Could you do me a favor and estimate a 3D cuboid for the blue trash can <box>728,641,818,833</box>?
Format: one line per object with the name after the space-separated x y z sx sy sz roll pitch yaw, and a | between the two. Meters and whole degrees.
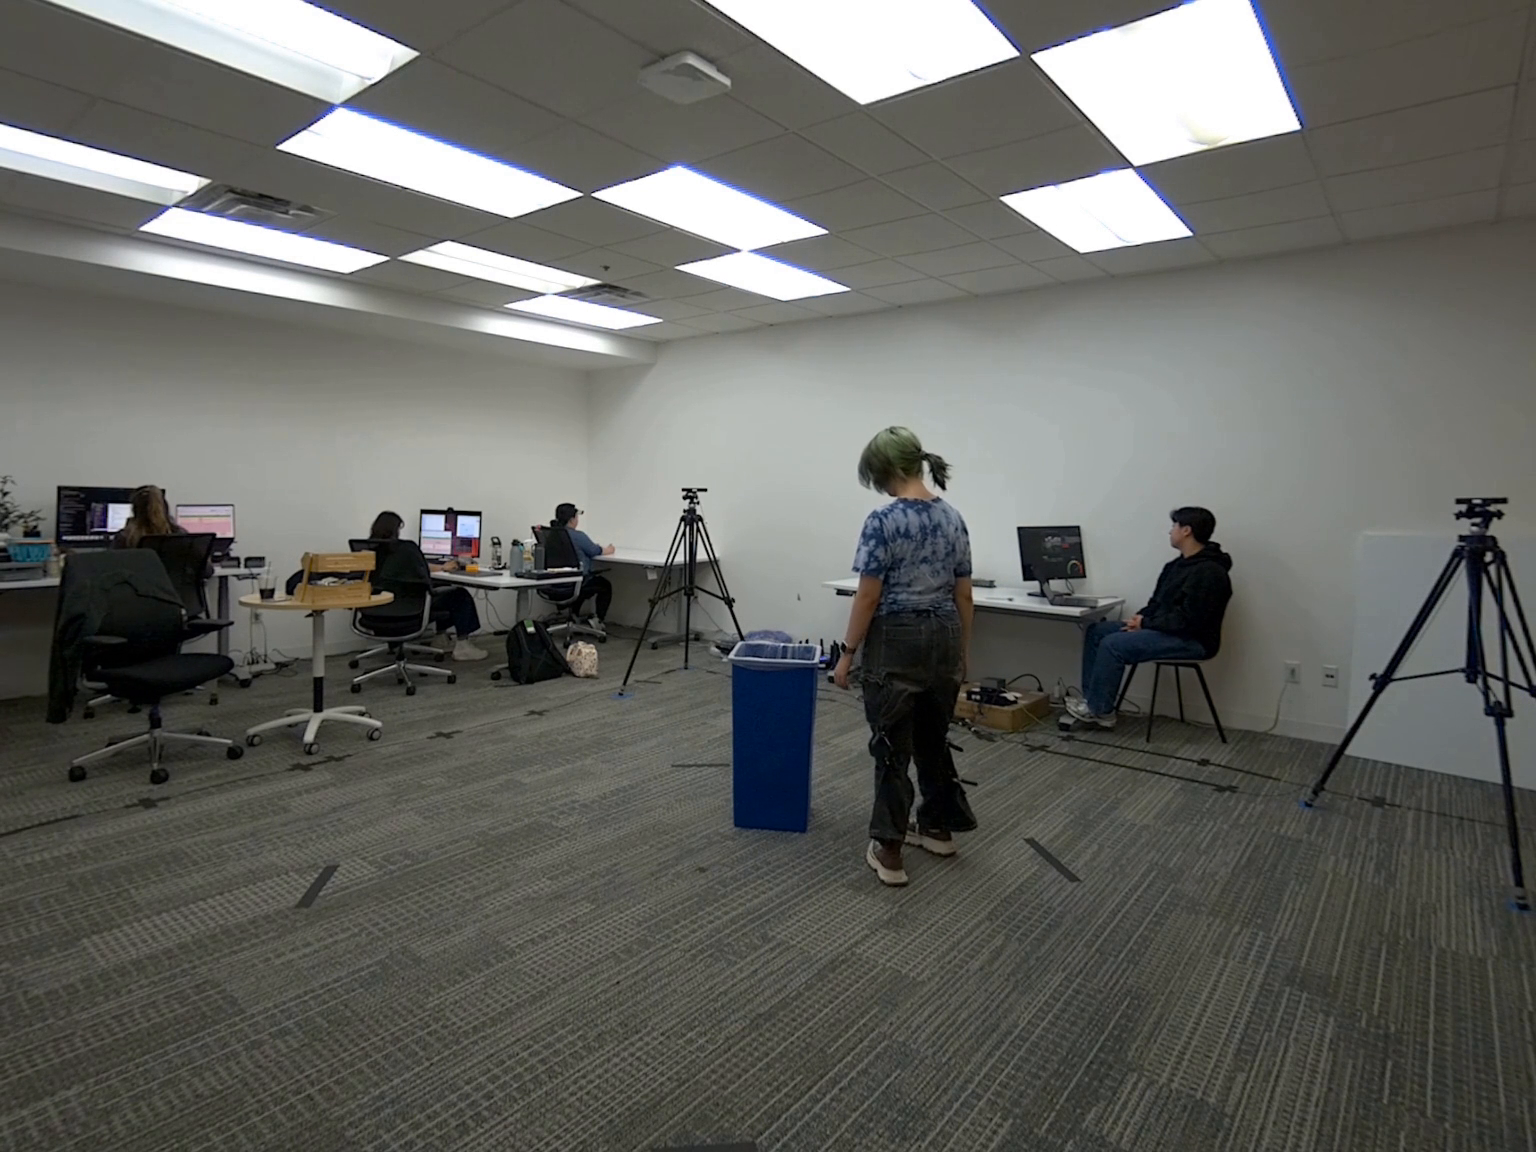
0.021 0.669 3.607 0.382 0.711 0.372 1 3 8 | blue trash can
